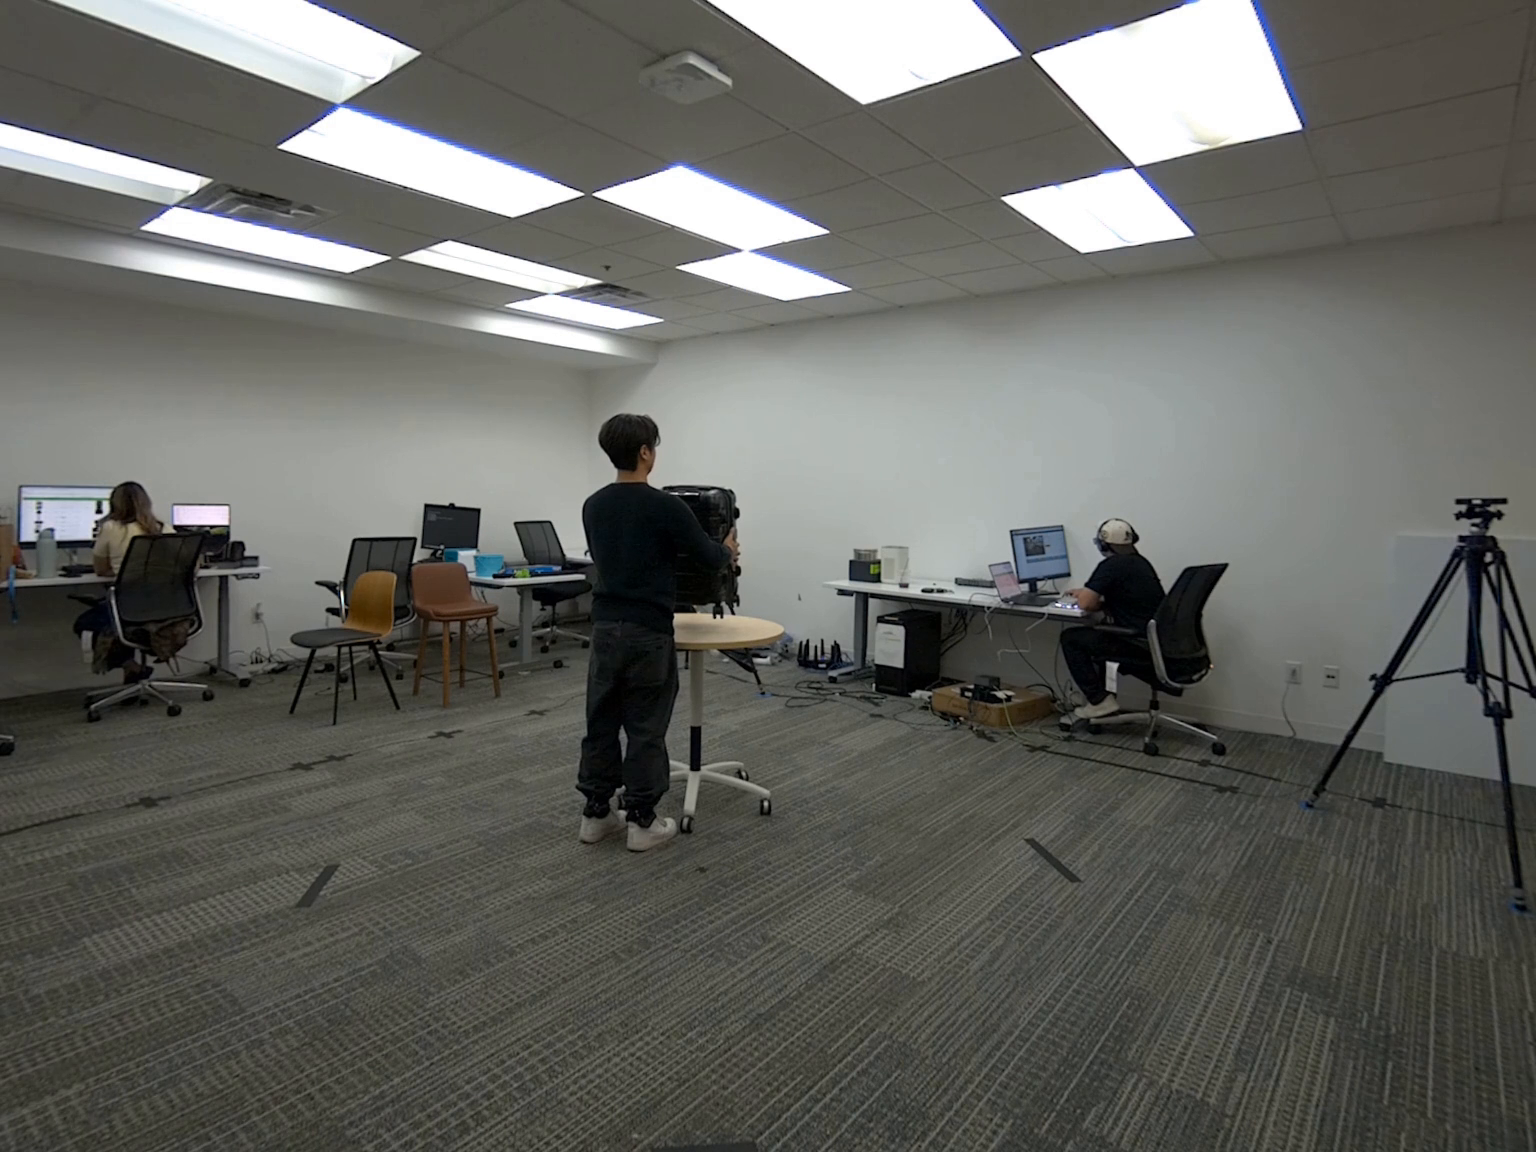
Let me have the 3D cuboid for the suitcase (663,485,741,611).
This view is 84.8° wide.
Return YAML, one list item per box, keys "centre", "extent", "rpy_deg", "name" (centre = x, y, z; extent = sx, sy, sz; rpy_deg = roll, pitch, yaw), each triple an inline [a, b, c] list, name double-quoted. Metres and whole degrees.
- centre: [-0.337, -0.129, 3.719]
  extent: [0.384, 0.545, 0.244]
  rpy_deg: [2, 9, 23]
  name: "suitcase"
